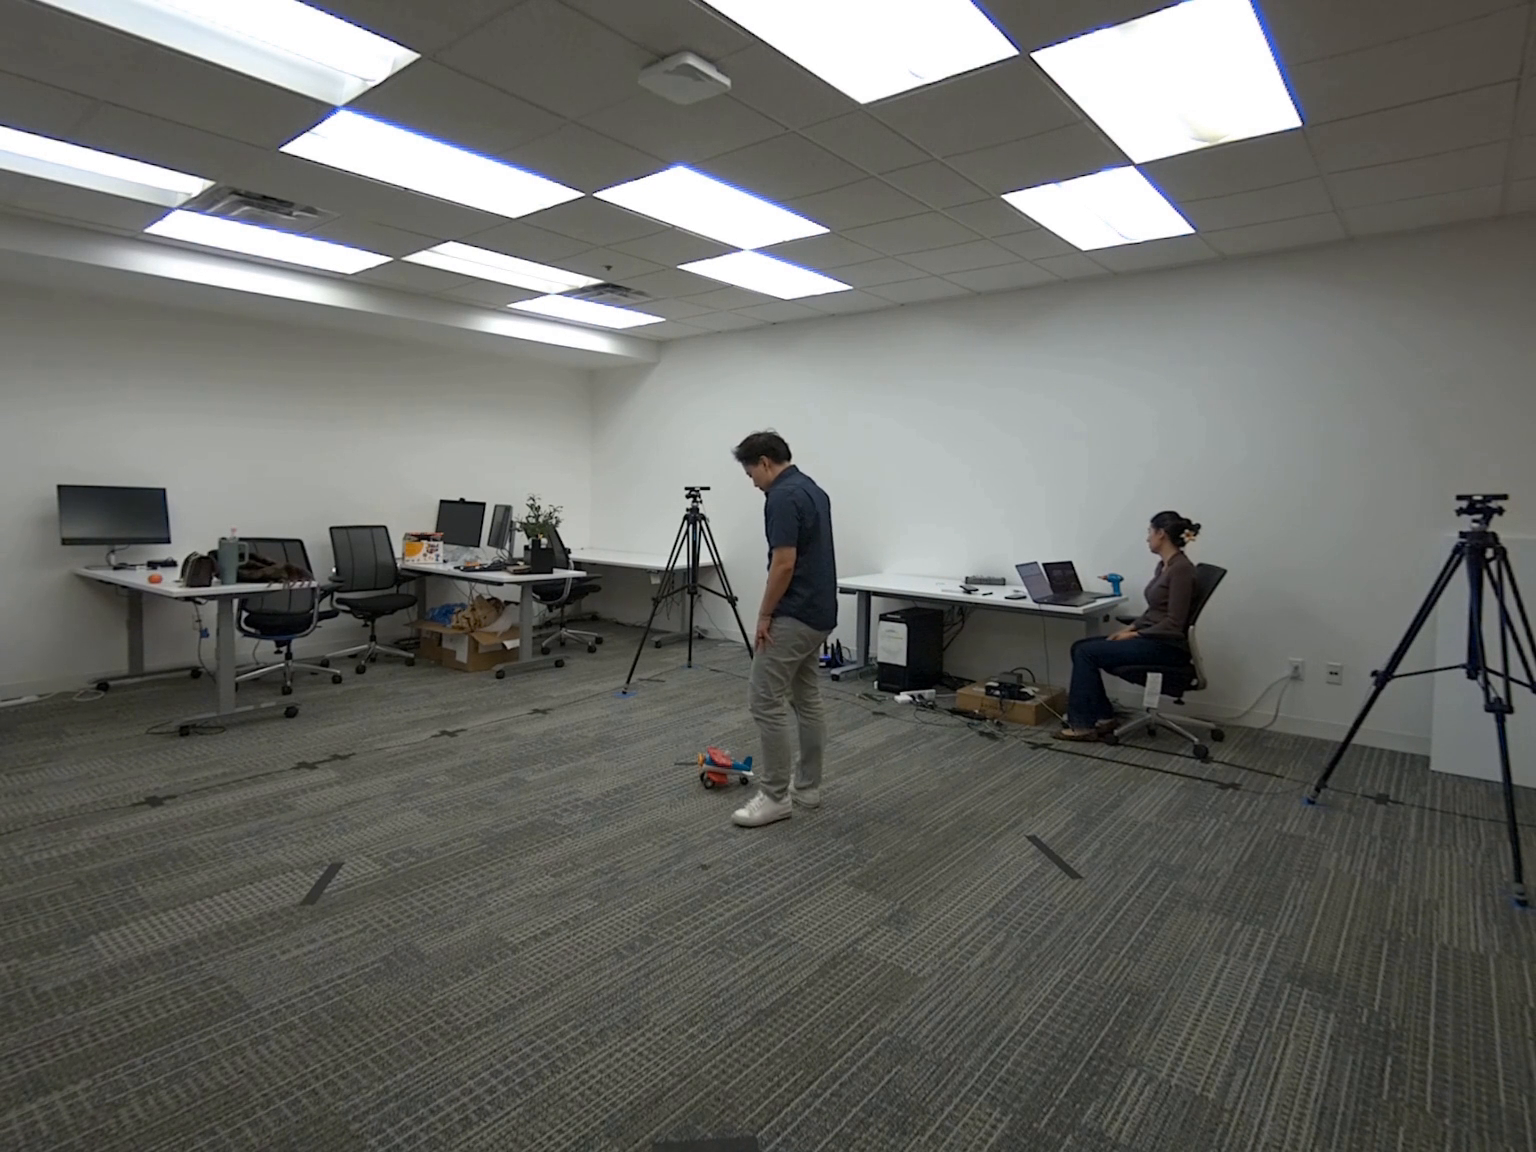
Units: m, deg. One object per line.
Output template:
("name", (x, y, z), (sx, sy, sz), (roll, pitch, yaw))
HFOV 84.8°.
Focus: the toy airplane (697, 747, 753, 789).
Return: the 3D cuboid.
("toy airplane", (-0.217, 0.904, 4.019), (0.251, 0.156, 0.260), (-3, 6, -42))
